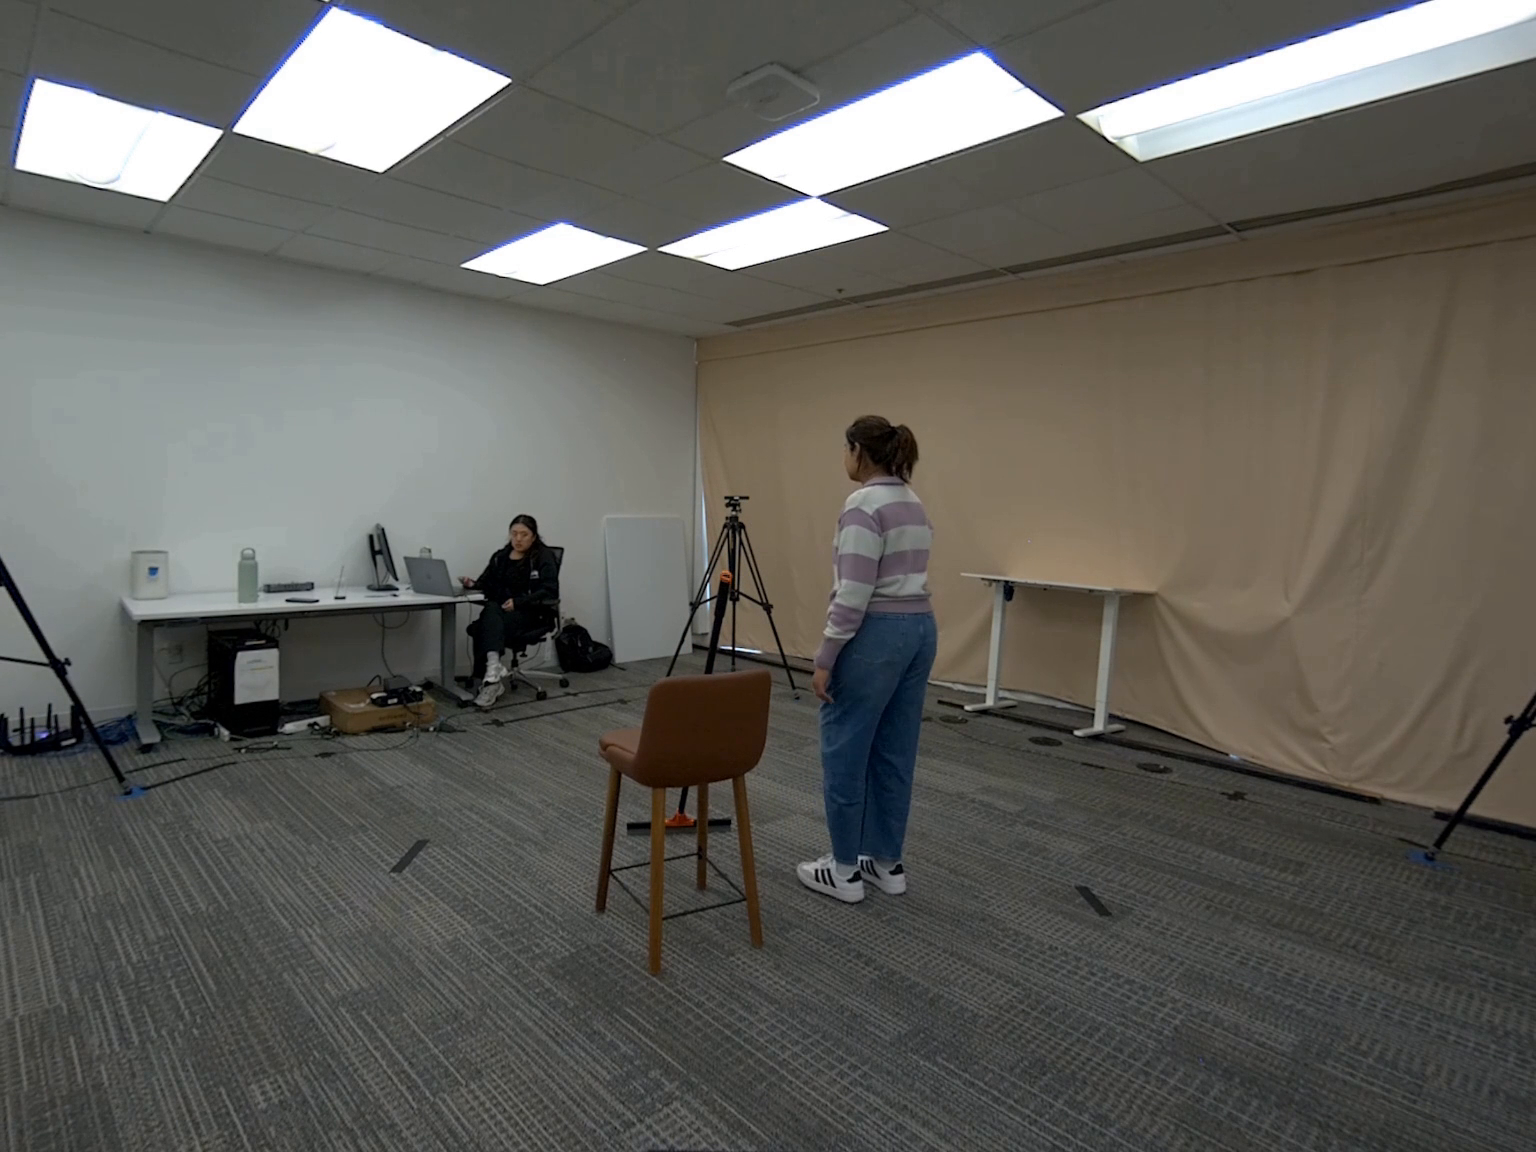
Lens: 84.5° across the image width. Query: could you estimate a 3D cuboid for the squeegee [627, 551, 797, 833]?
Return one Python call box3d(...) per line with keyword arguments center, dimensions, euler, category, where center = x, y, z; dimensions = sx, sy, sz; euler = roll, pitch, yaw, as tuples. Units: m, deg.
box3d(center=(-0.257, 0.506, 2.982), dimensions=(0.434, 1.510, 0.054), euler=(0, 45, -11), category="squeegee")
